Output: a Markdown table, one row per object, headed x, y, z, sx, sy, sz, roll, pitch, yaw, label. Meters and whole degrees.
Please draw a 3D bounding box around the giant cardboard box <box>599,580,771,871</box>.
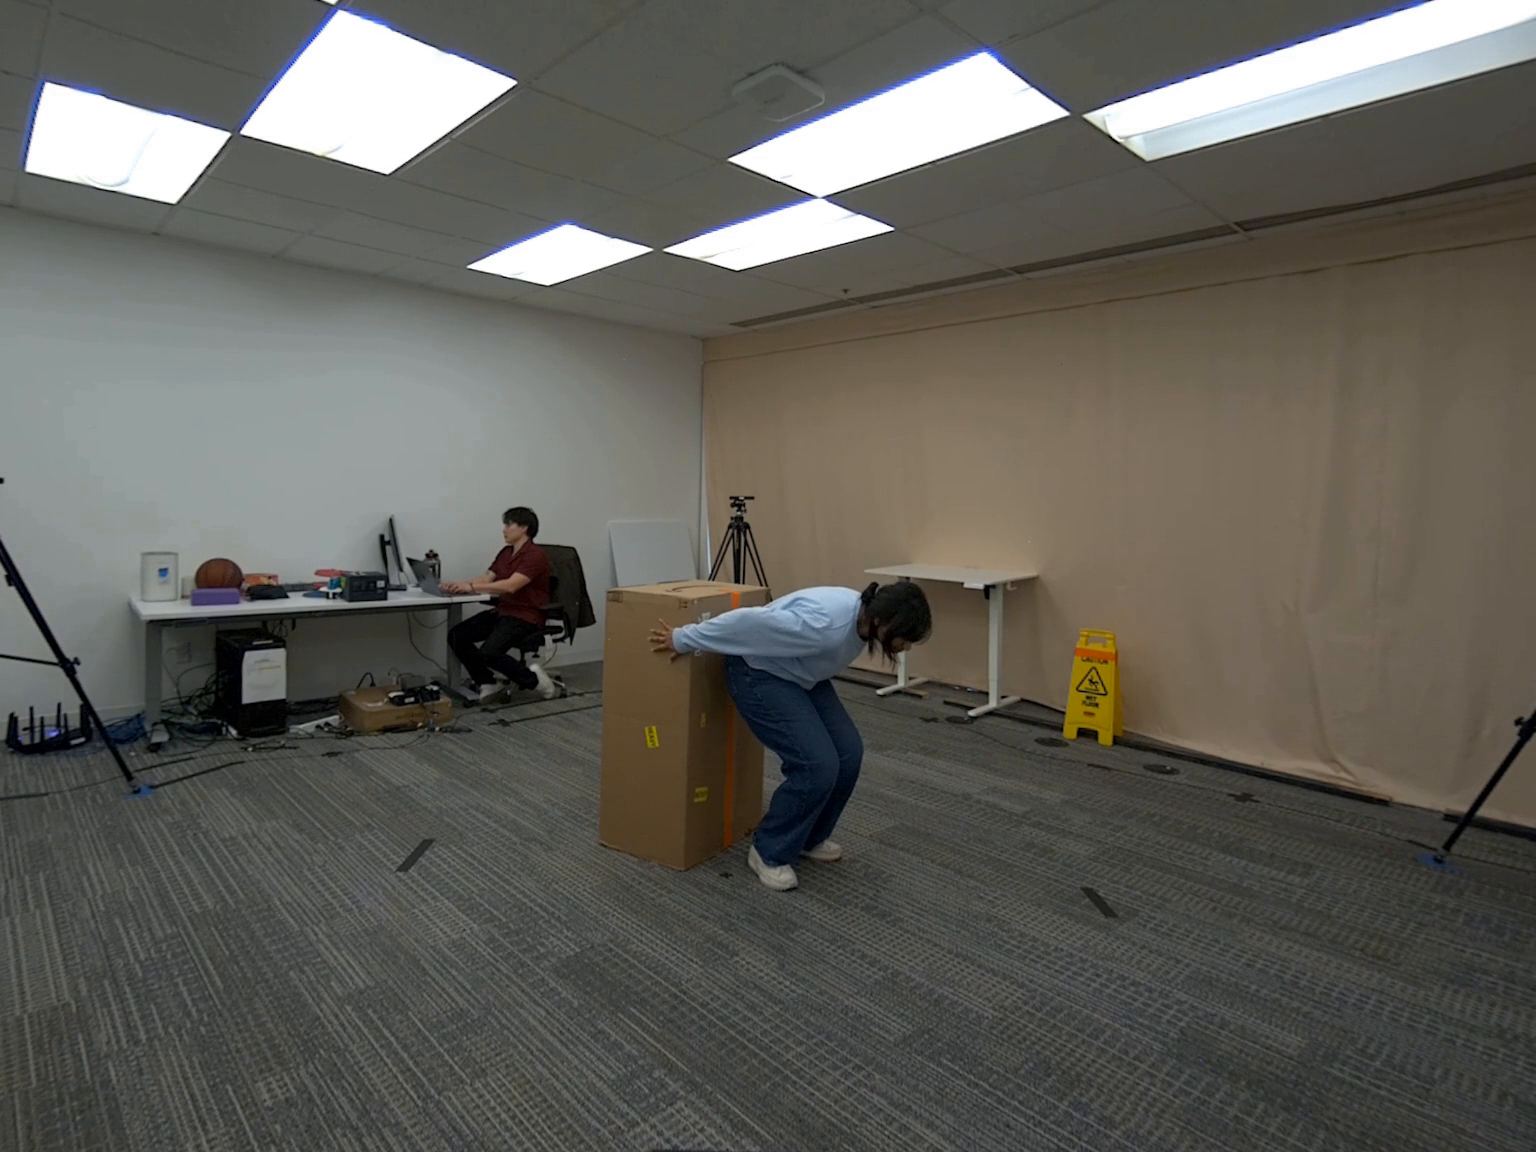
| x | y | z | sx | sy | sz | roll | pitch | yaw | label |
| --- | --- | --- | --- | --- | --- | --- | --- | --- | --- |
| -0.335 | 0.561 | 3.456 | 0.436 | 1.023 | 0.565 | 4 | 4 | 32 | giant cardboard box |
